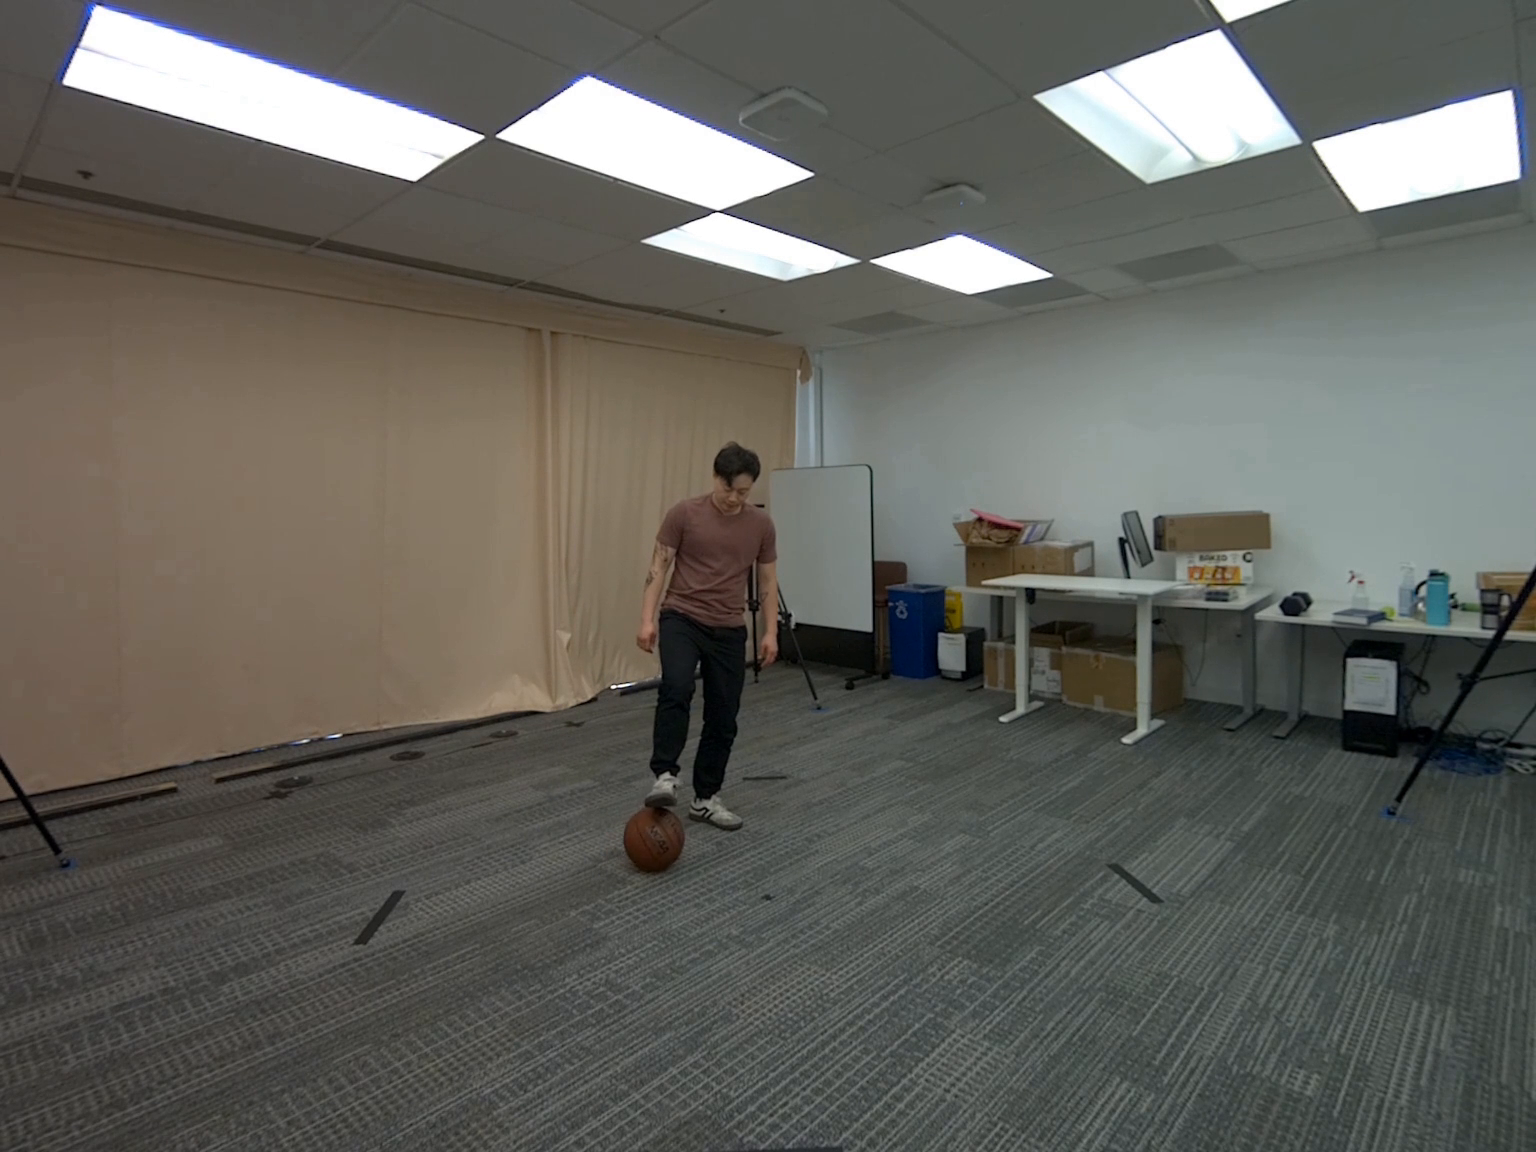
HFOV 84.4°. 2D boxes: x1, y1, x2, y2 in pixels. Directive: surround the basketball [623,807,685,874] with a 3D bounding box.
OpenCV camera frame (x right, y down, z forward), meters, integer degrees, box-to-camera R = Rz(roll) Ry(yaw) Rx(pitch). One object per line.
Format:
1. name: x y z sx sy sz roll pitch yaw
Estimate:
1. basketball: -0.440 1.008 3.248 0.236 0.235 0.237 -1 4 -2
